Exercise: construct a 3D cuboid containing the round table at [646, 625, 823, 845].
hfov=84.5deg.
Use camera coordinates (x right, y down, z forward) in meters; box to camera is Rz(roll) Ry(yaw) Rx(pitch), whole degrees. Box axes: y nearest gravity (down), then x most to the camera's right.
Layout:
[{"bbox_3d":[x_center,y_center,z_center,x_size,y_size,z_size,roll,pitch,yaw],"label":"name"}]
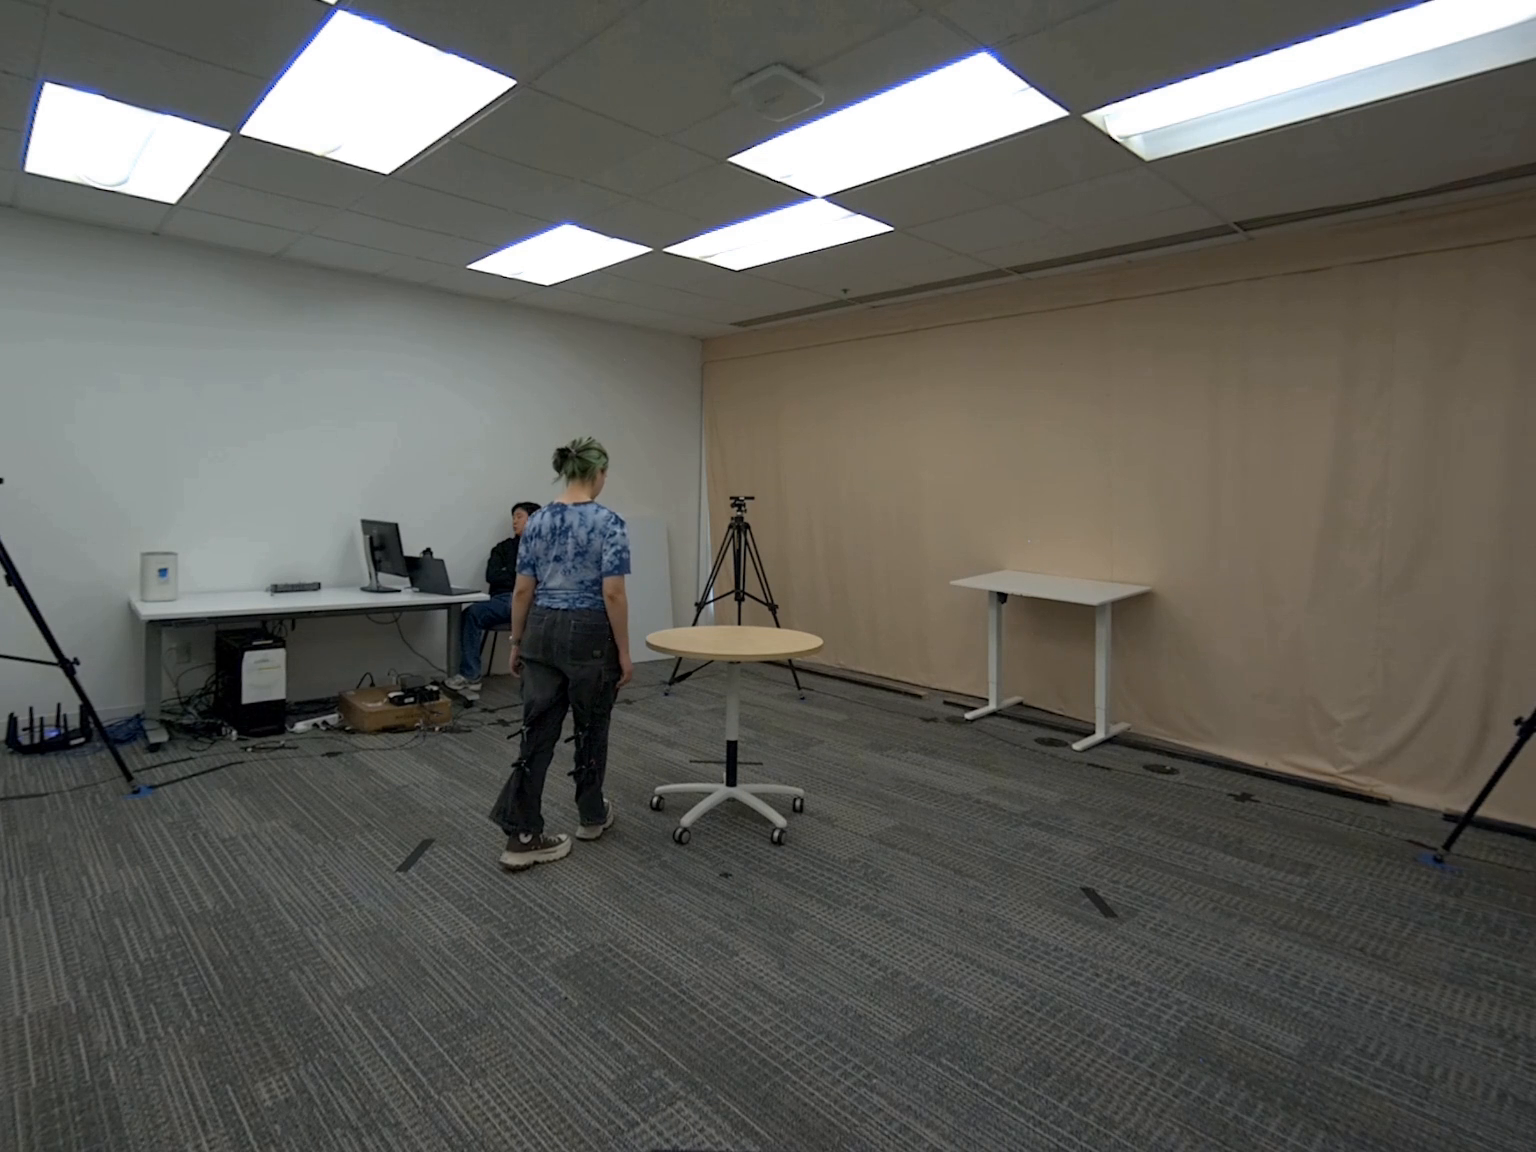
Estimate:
[{"bbox_3d":[-0.164,0.667,3.659,0.763,0.792,0.766,2,4,-1],"label":"round table"}]
